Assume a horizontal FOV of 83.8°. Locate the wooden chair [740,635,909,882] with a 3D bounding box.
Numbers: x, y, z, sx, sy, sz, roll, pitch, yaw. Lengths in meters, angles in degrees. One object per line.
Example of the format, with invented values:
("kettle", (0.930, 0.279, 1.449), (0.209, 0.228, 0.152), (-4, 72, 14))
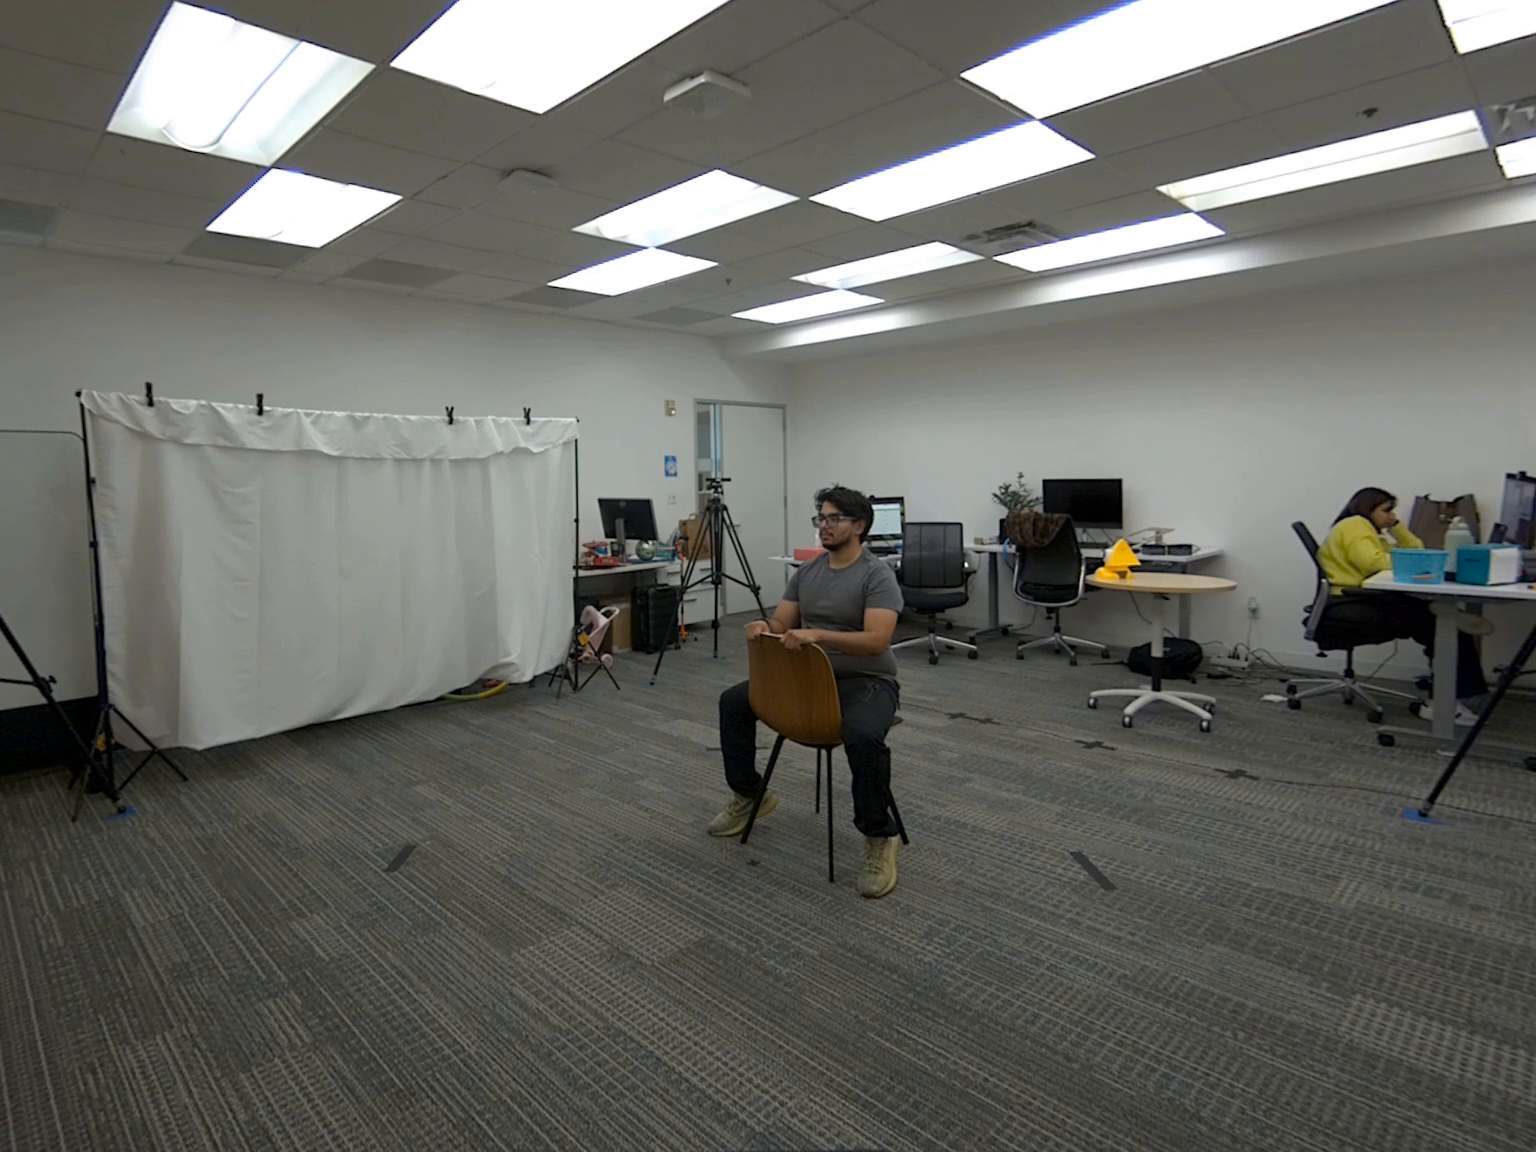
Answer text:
("wooden chair", (0.214, 0.596, 3.234), (0.511, 0.871, 0.493), (-11, 10, -44))
